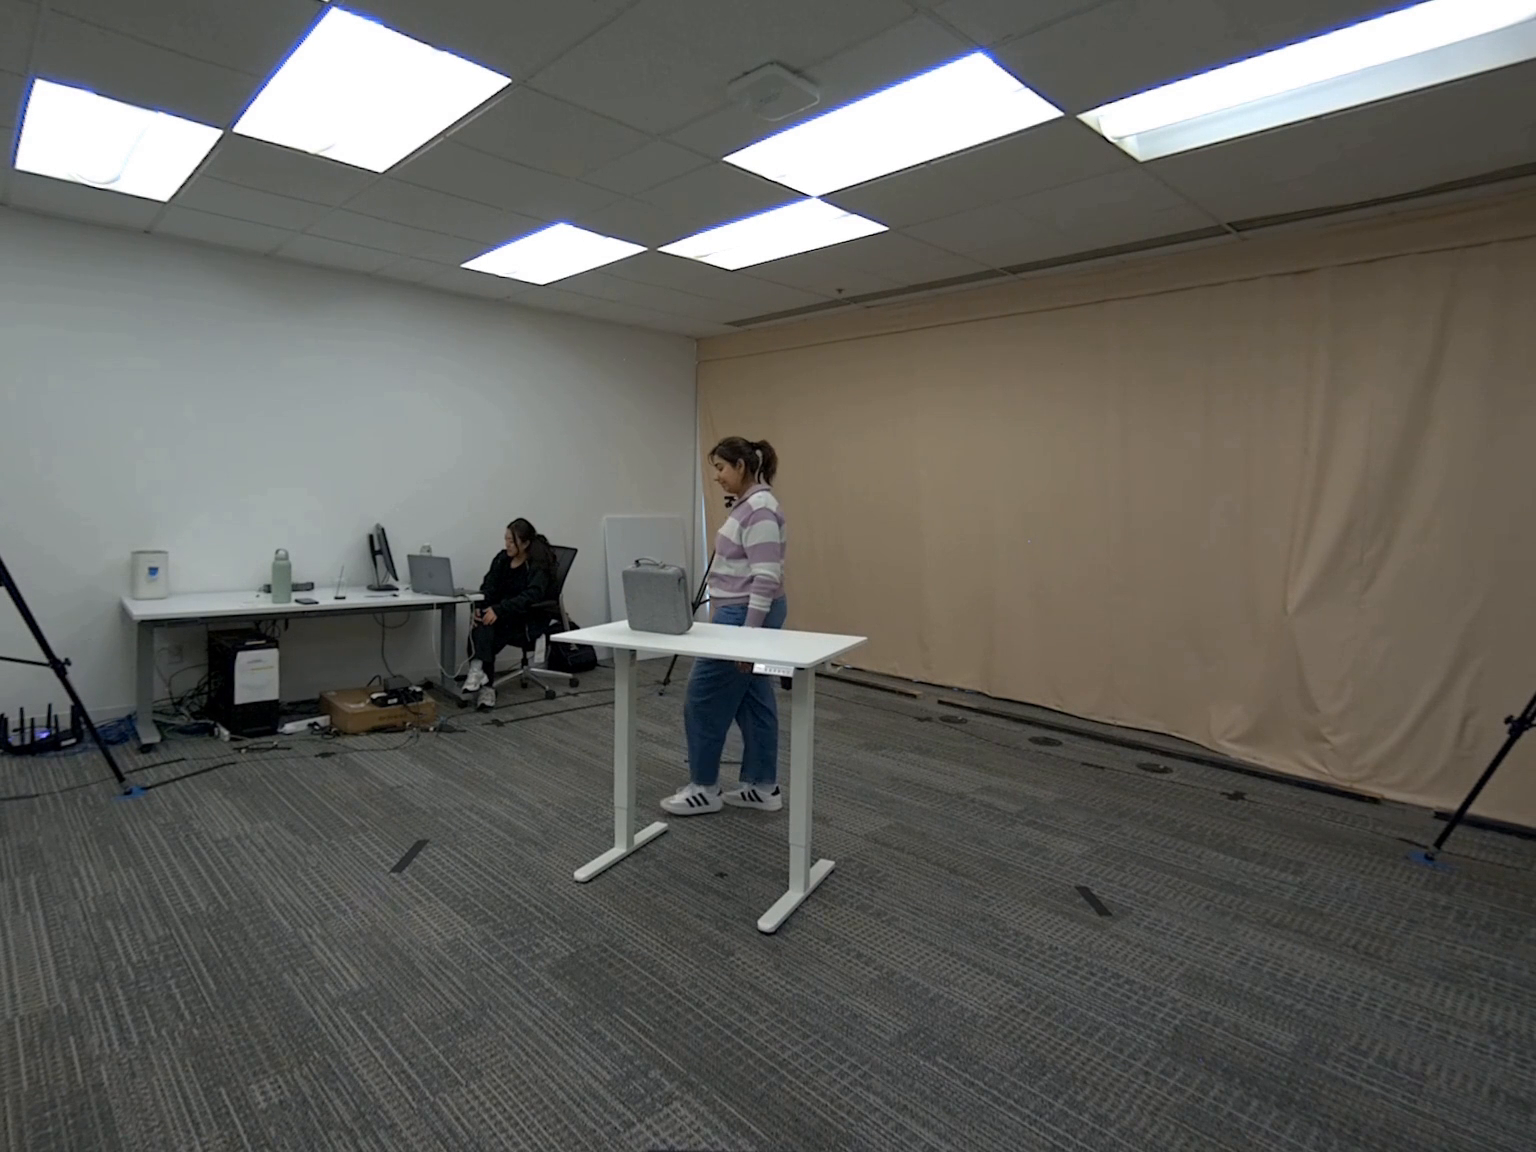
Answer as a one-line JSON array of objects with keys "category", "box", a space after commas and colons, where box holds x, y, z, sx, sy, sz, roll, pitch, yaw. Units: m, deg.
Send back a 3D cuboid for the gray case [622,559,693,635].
[{"category": "gray case", "box": [-0.419, 0.080, 3.151, 0.262, 0.258, 0.103, 2, 13, 32]}]
